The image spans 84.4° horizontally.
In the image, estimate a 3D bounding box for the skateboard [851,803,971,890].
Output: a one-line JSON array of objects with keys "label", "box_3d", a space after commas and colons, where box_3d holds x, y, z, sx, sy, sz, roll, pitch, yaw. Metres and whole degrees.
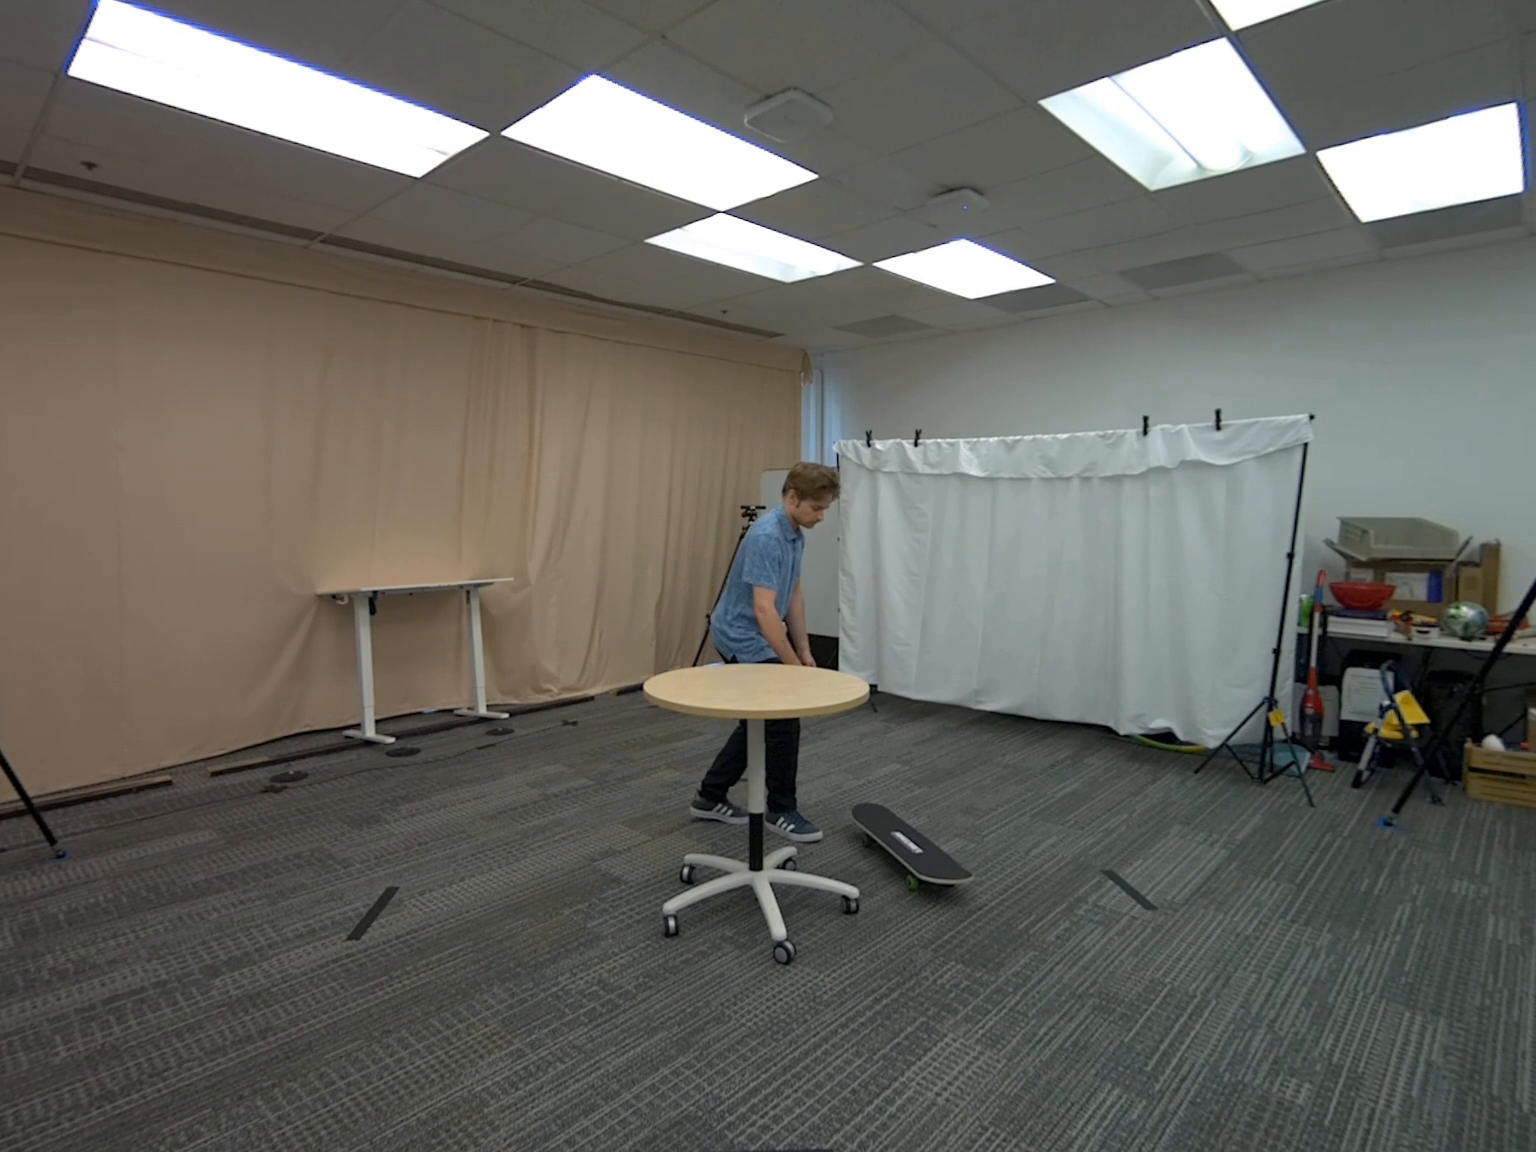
[{"label": "skateboard", "box_3d": [0.543, 1.065, 3.262, 0.190, 0.110, 0.800, -1, 4, -17]}]
